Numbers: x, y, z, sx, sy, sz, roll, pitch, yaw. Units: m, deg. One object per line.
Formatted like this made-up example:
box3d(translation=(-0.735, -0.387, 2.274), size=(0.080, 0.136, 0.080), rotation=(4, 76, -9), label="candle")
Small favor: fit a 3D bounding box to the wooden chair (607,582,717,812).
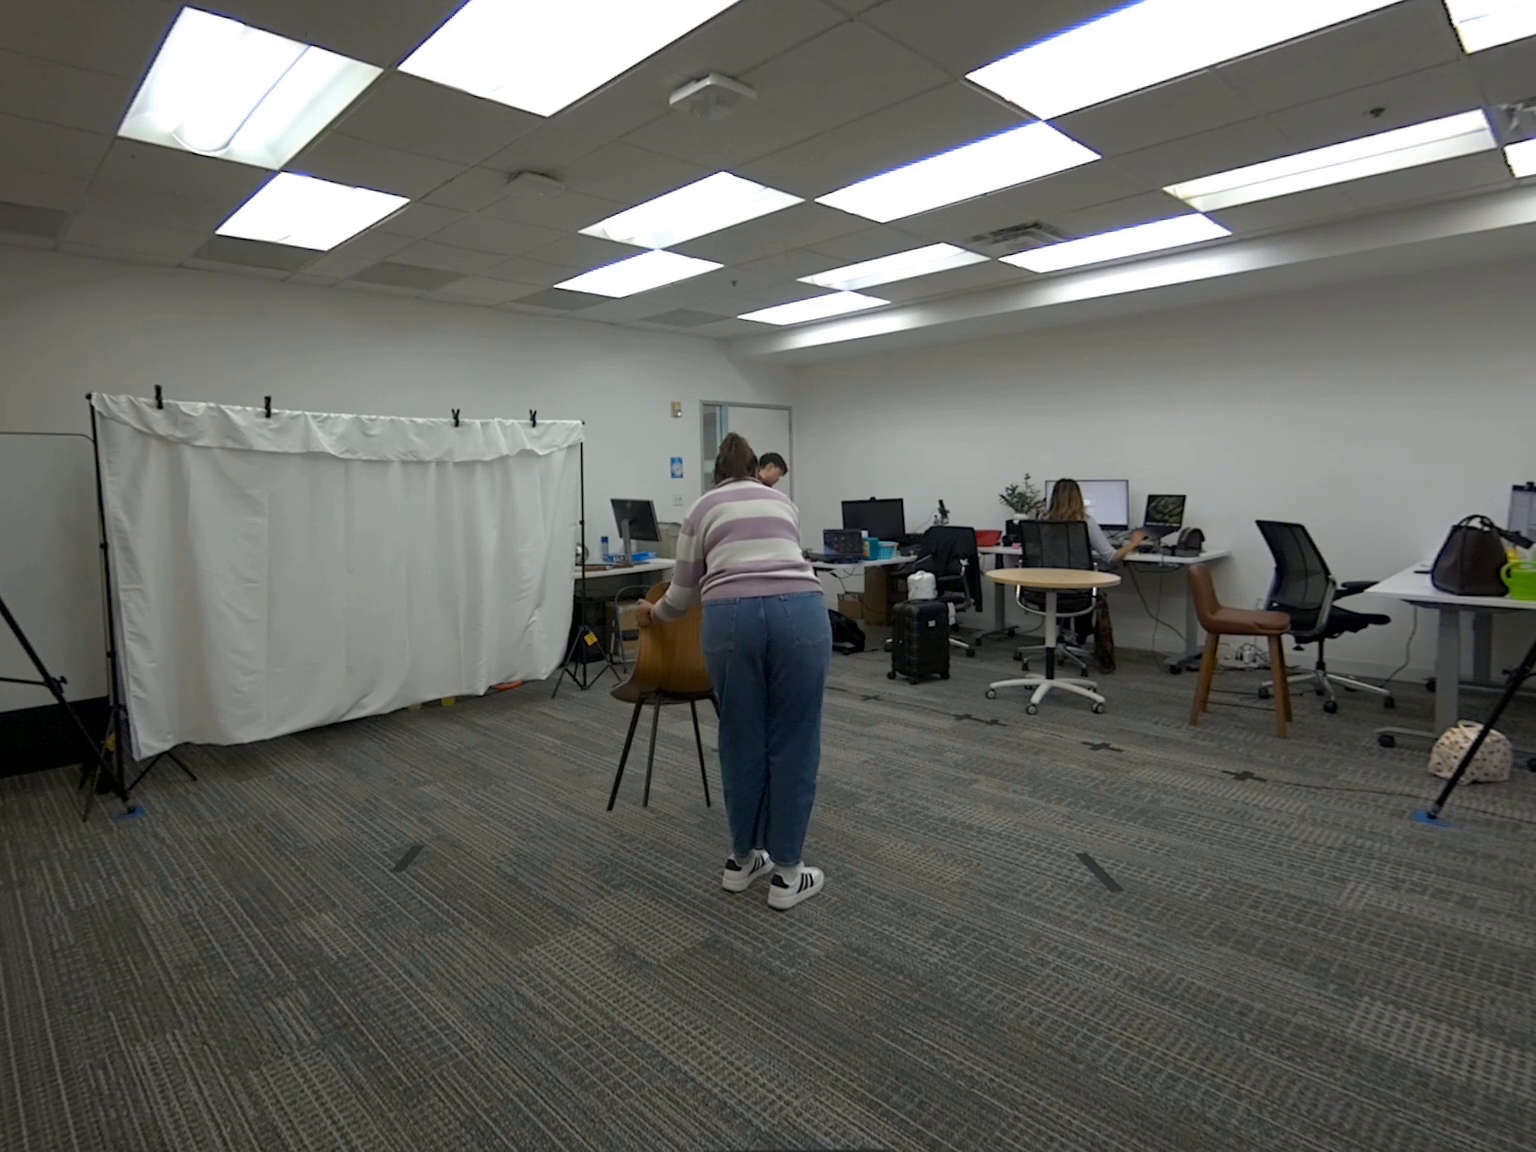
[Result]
box3d(translation=(-0.367, 0.489, 3.452), size=(0.467, 0.889, 0.528), rotation=(4, -15, -25), label="wooden chair")
